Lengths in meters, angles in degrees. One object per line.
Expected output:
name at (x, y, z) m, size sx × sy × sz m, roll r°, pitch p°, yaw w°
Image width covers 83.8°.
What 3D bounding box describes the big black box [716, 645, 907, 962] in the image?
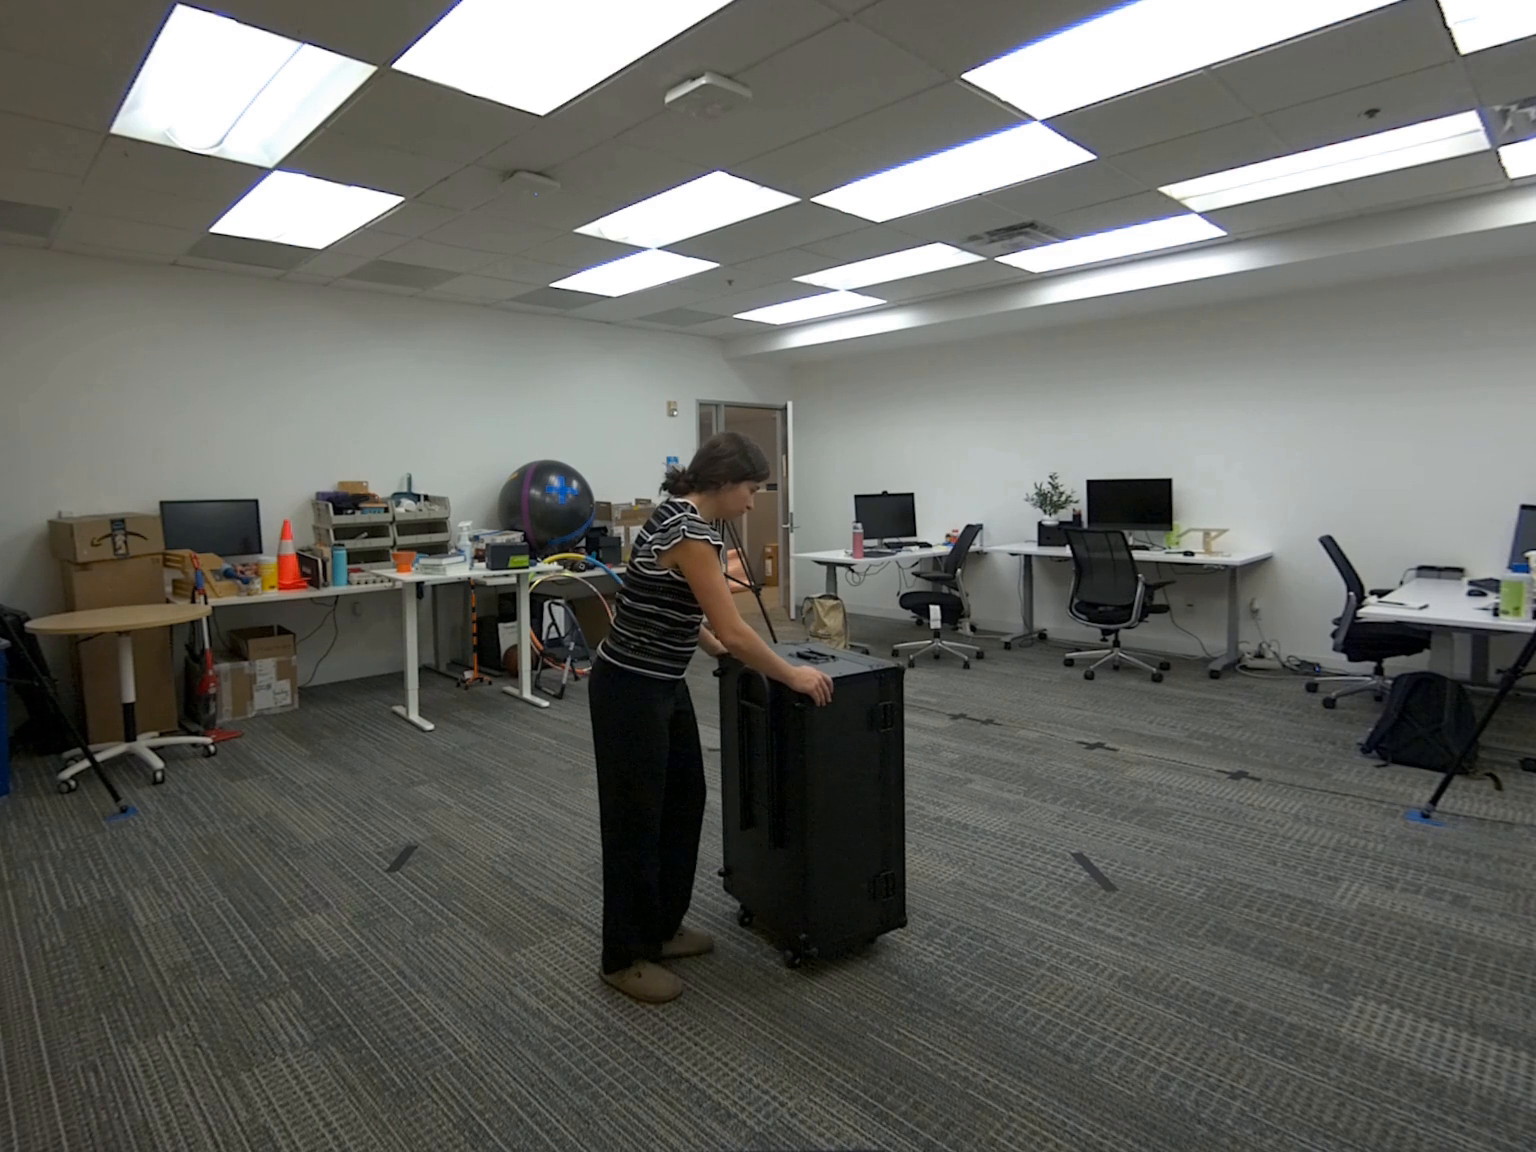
big black box at (0.126, 0.672, 2.612) m, size 0.387 × 0.858 × 0.536 m, roll -4°, pitch 6°, yaw -31°
